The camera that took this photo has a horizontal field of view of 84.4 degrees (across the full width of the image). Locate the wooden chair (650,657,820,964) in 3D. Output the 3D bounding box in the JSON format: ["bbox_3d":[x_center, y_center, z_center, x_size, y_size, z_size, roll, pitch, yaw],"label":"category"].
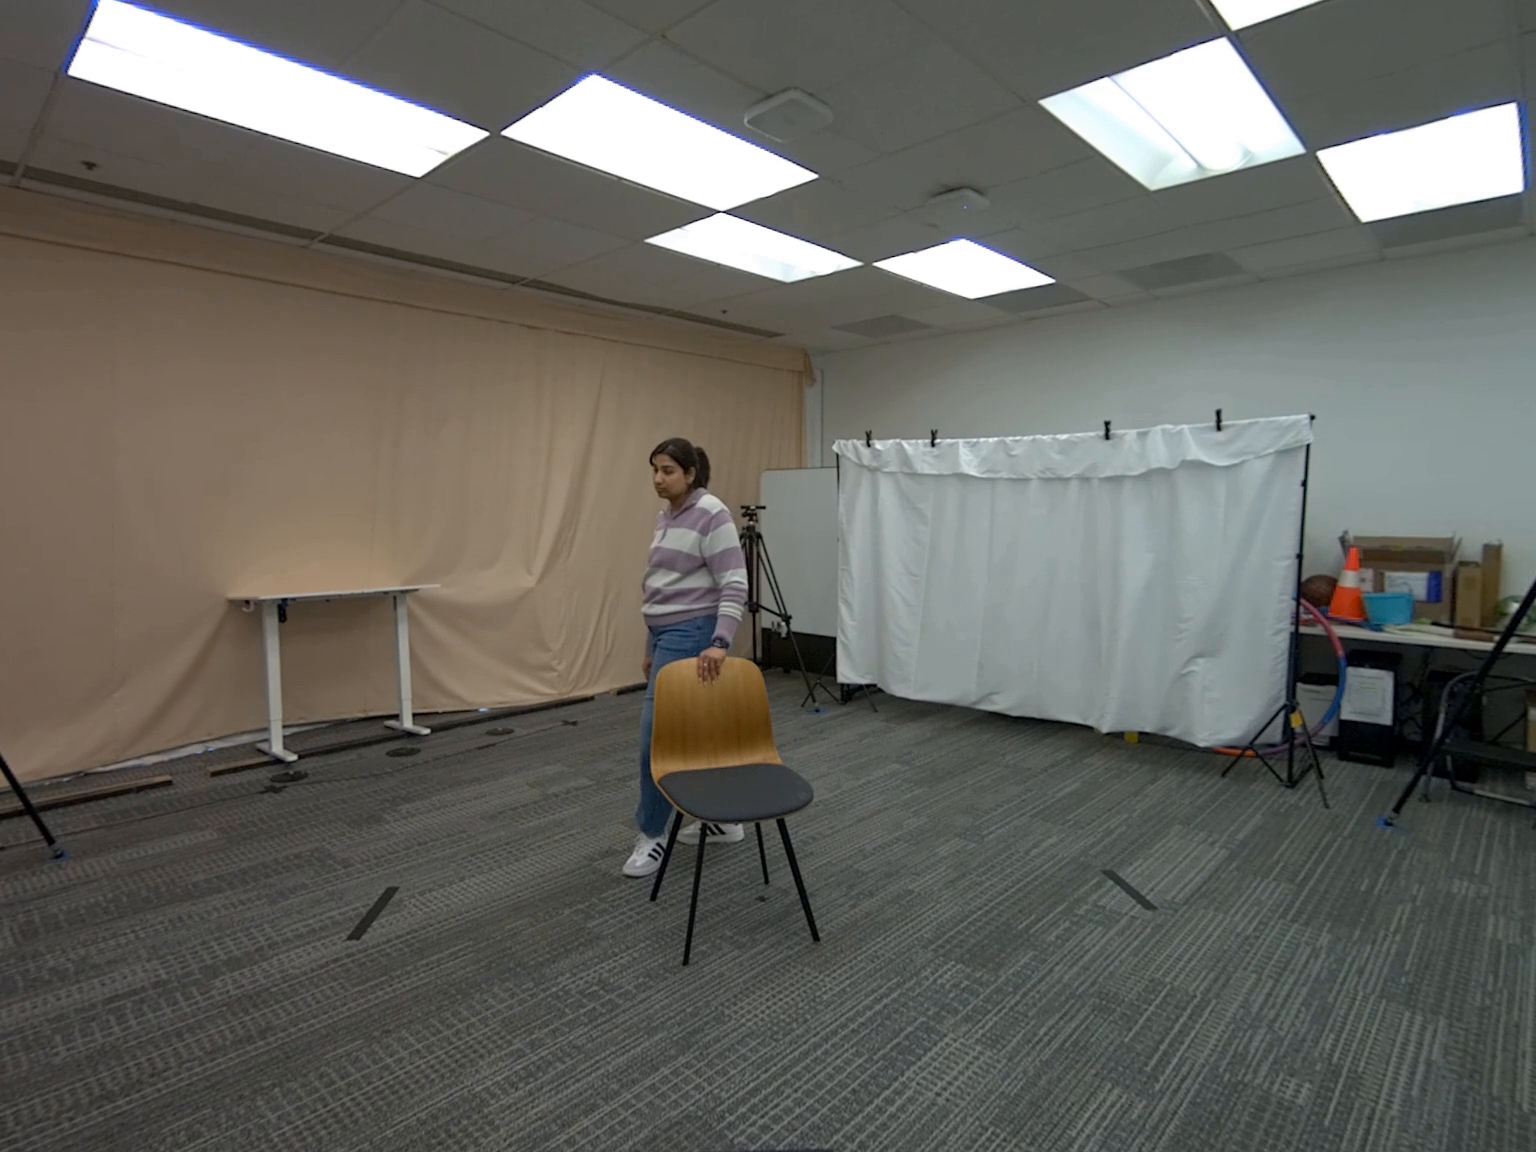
[{"bbox_3d":[-0.120,0.733,2.792,0.469,0.878,0.533,-1,-1,-20],"label":"wooden chair"}]
